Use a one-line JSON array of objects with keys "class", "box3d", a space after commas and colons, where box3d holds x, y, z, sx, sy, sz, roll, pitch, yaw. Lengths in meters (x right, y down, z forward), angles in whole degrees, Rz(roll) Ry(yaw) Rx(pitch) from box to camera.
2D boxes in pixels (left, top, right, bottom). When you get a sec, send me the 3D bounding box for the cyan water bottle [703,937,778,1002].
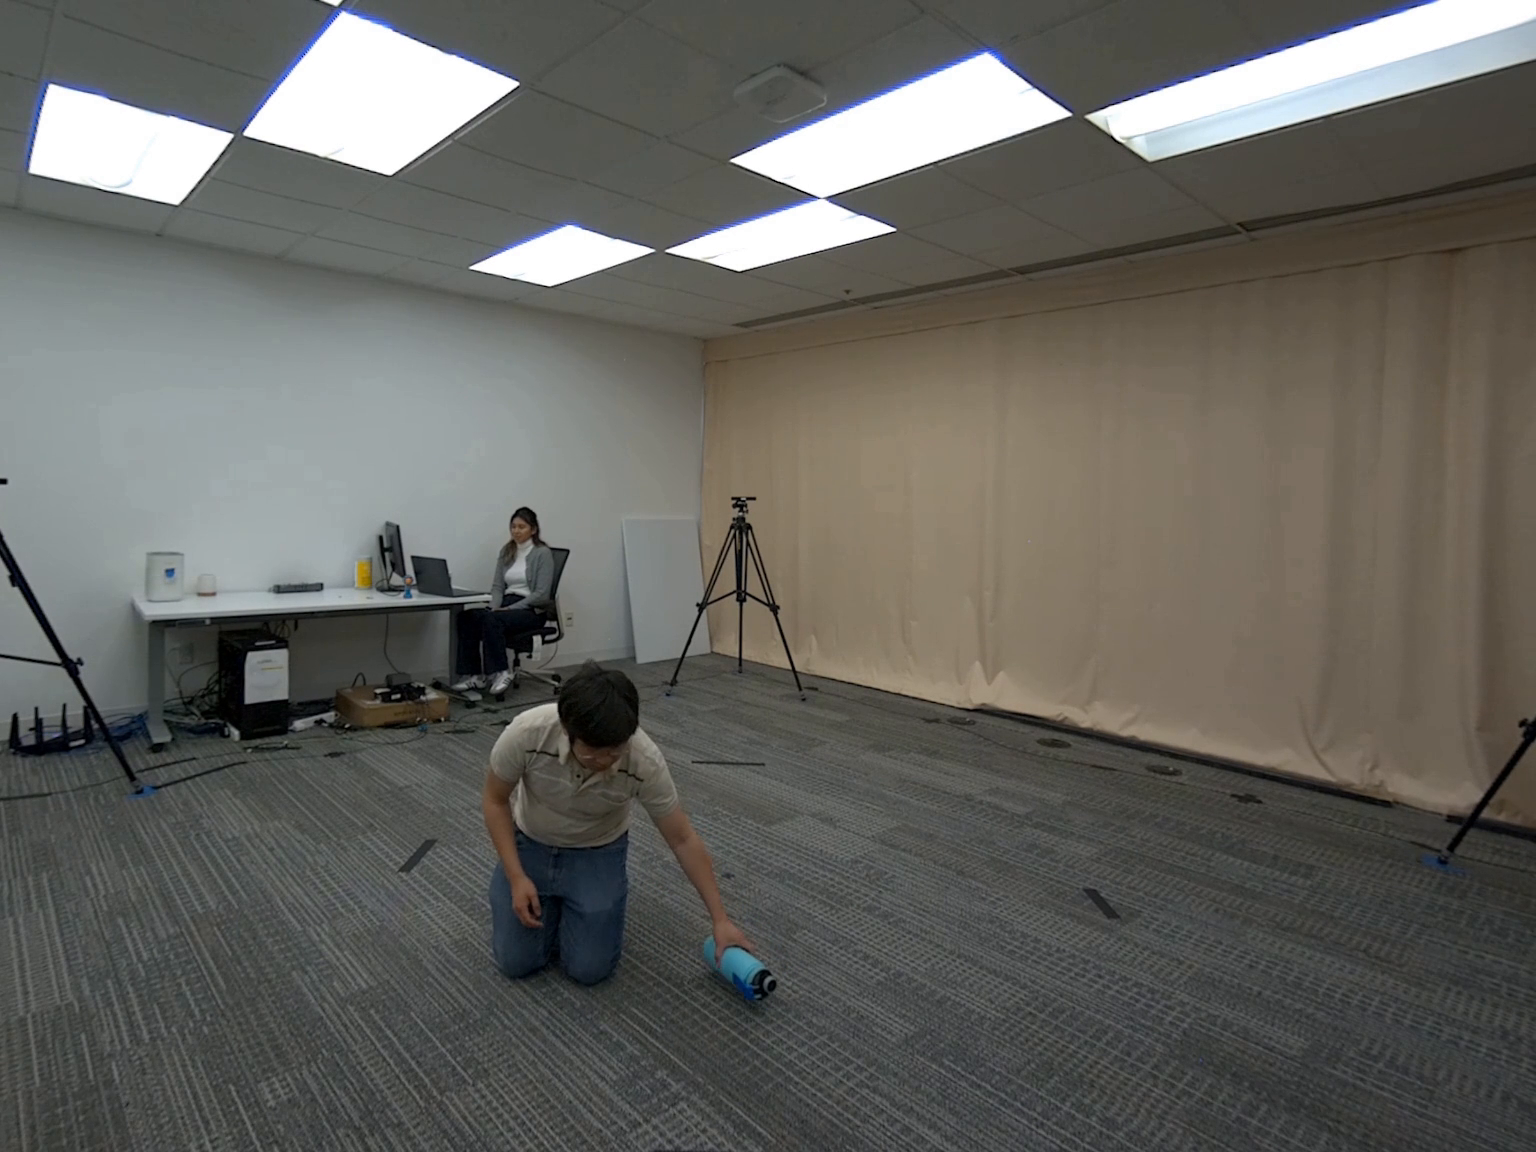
[{"class": "cyan water bottle", "box3d": [-0.100, 1.102, 2.348, 0.090, 0.092, 0.289, -1, 1, -32]}]
